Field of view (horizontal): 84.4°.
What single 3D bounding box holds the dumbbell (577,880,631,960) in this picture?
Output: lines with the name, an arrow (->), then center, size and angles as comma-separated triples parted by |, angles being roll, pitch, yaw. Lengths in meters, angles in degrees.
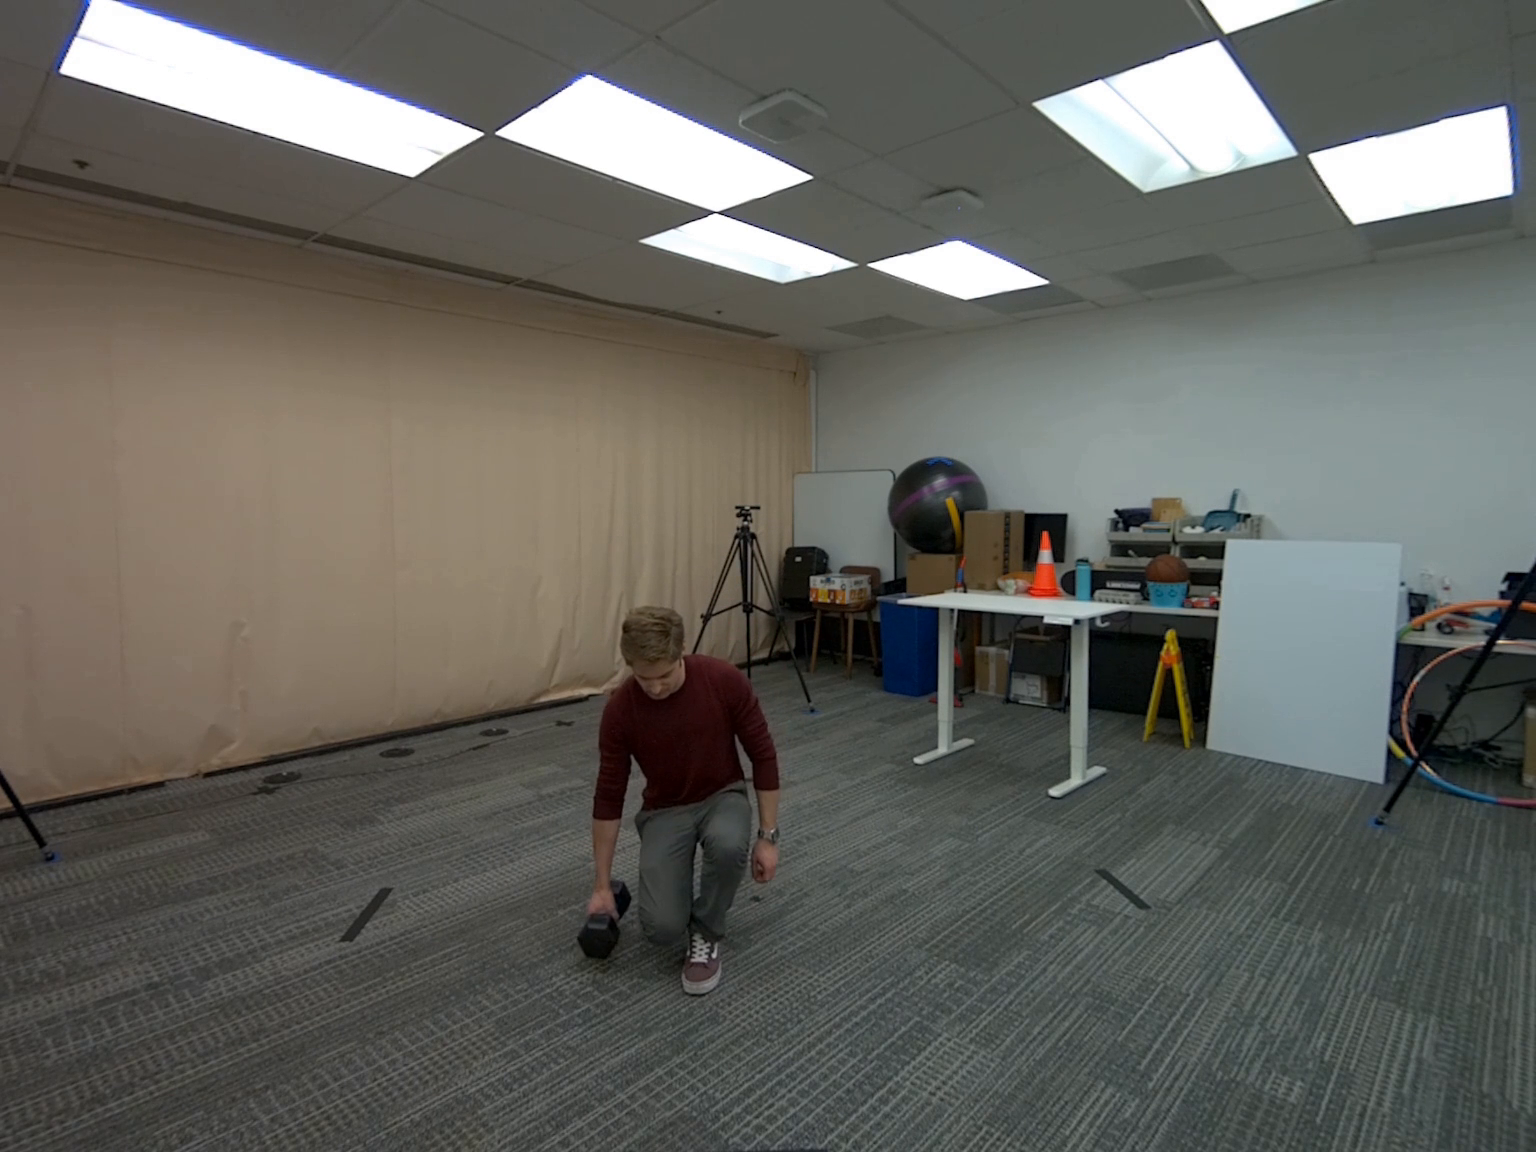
dumbbell -> -0.502, 1.068, 2.632 | 0.108, 0.123, 0.294 | 35, 4, -3
